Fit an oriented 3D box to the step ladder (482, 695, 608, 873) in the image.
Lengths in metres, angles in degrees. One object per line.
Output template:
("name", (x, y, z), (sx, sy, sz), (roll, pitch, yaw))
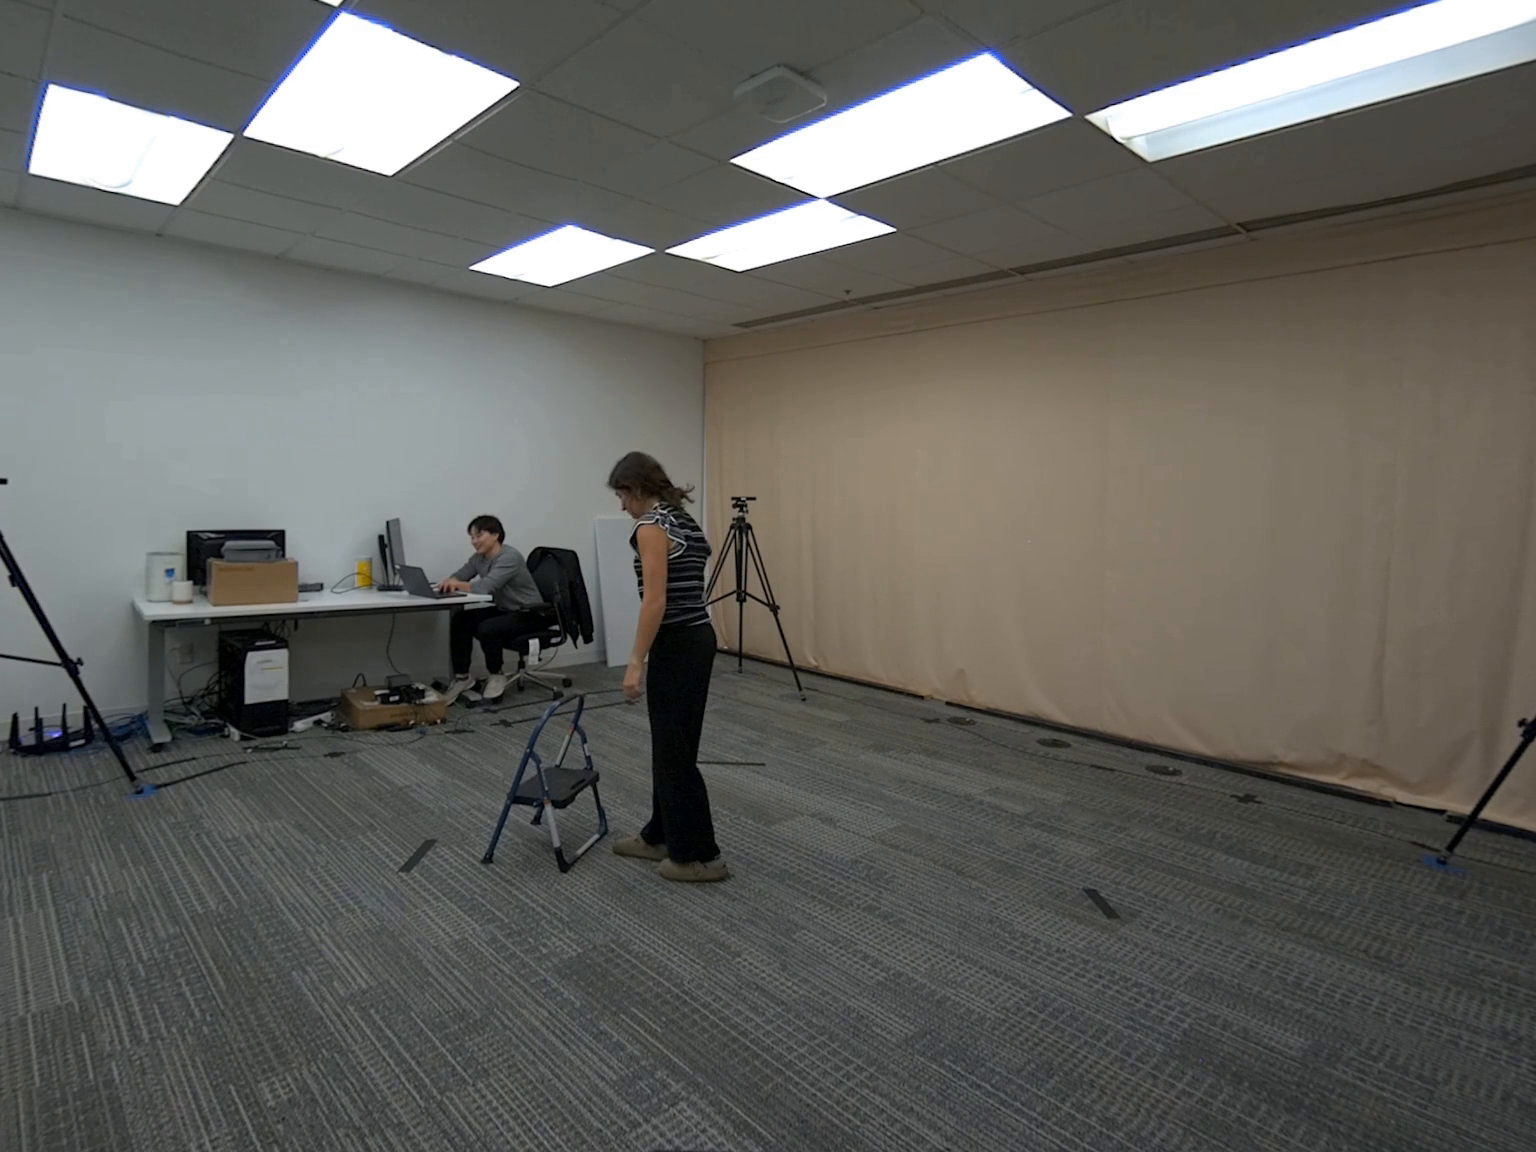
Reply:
("step ladder", (-0.868, 0.769, 3.318), (0.353, 0.604, 0.427), (2, 4, 12))
